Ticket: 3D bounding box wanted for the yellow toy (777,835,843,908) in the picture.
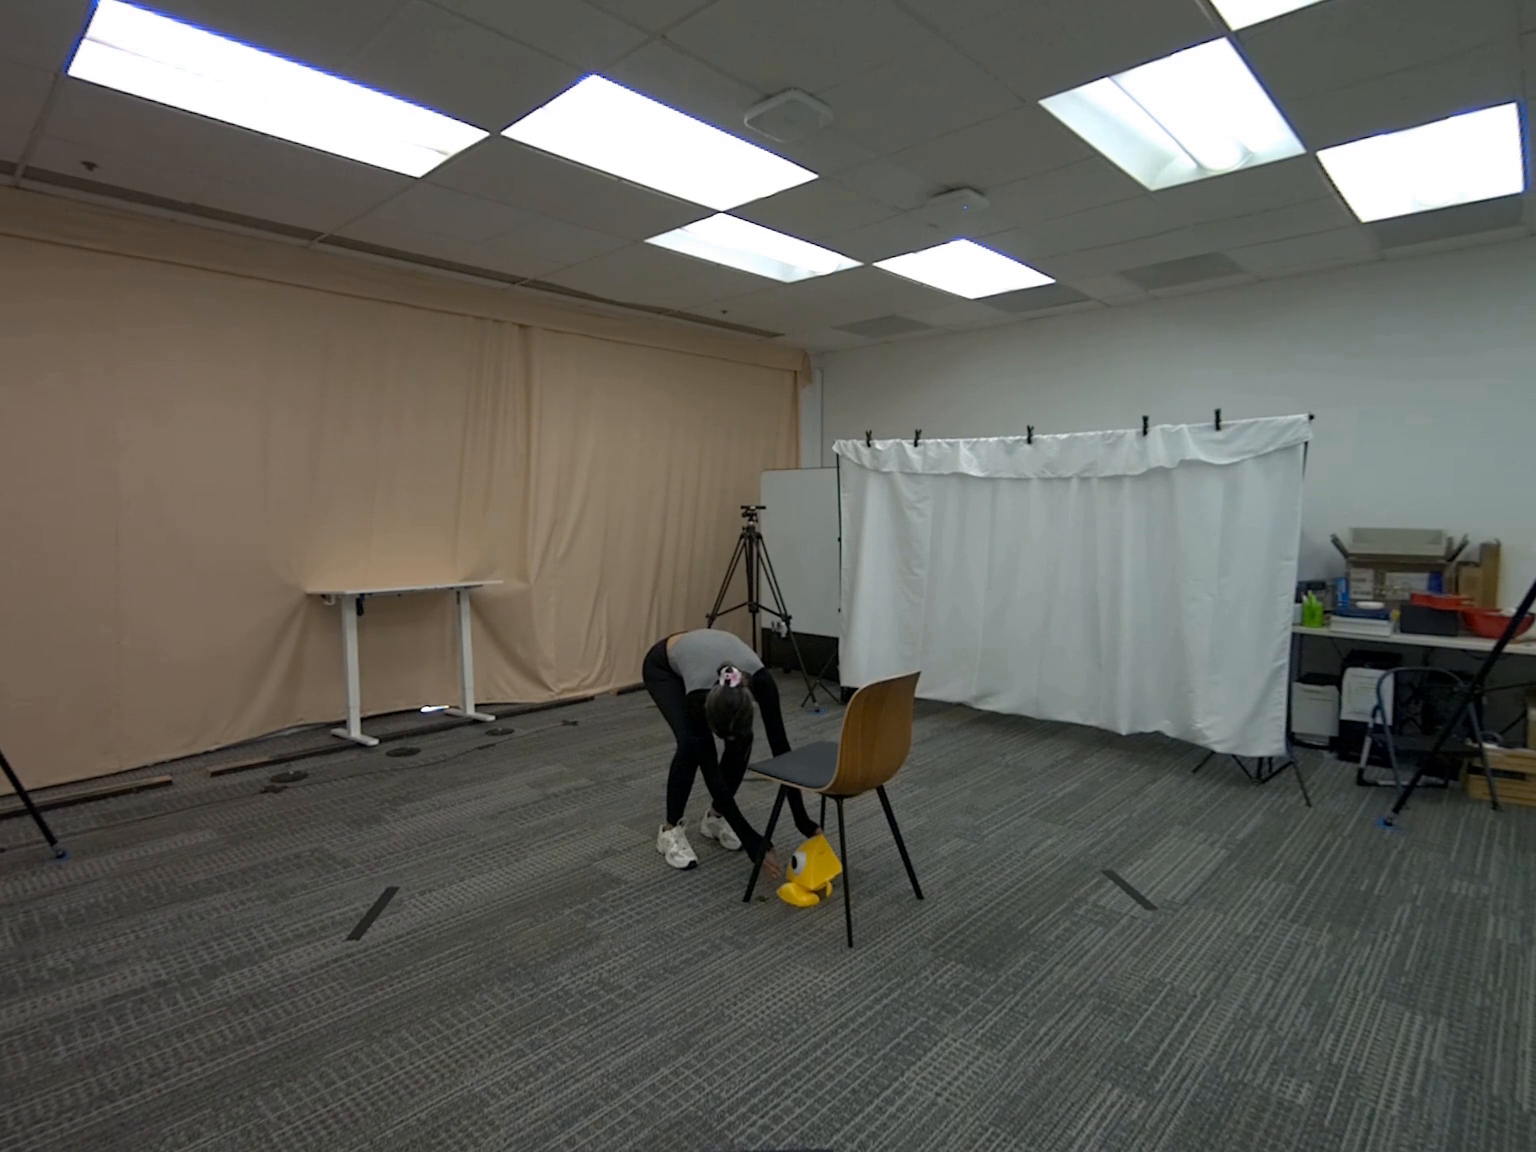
[{"bbox_3d":[0.141,1.027,3.017,0.199,0.230,0.199,2,6,38],"label":"yellow toy"}]
